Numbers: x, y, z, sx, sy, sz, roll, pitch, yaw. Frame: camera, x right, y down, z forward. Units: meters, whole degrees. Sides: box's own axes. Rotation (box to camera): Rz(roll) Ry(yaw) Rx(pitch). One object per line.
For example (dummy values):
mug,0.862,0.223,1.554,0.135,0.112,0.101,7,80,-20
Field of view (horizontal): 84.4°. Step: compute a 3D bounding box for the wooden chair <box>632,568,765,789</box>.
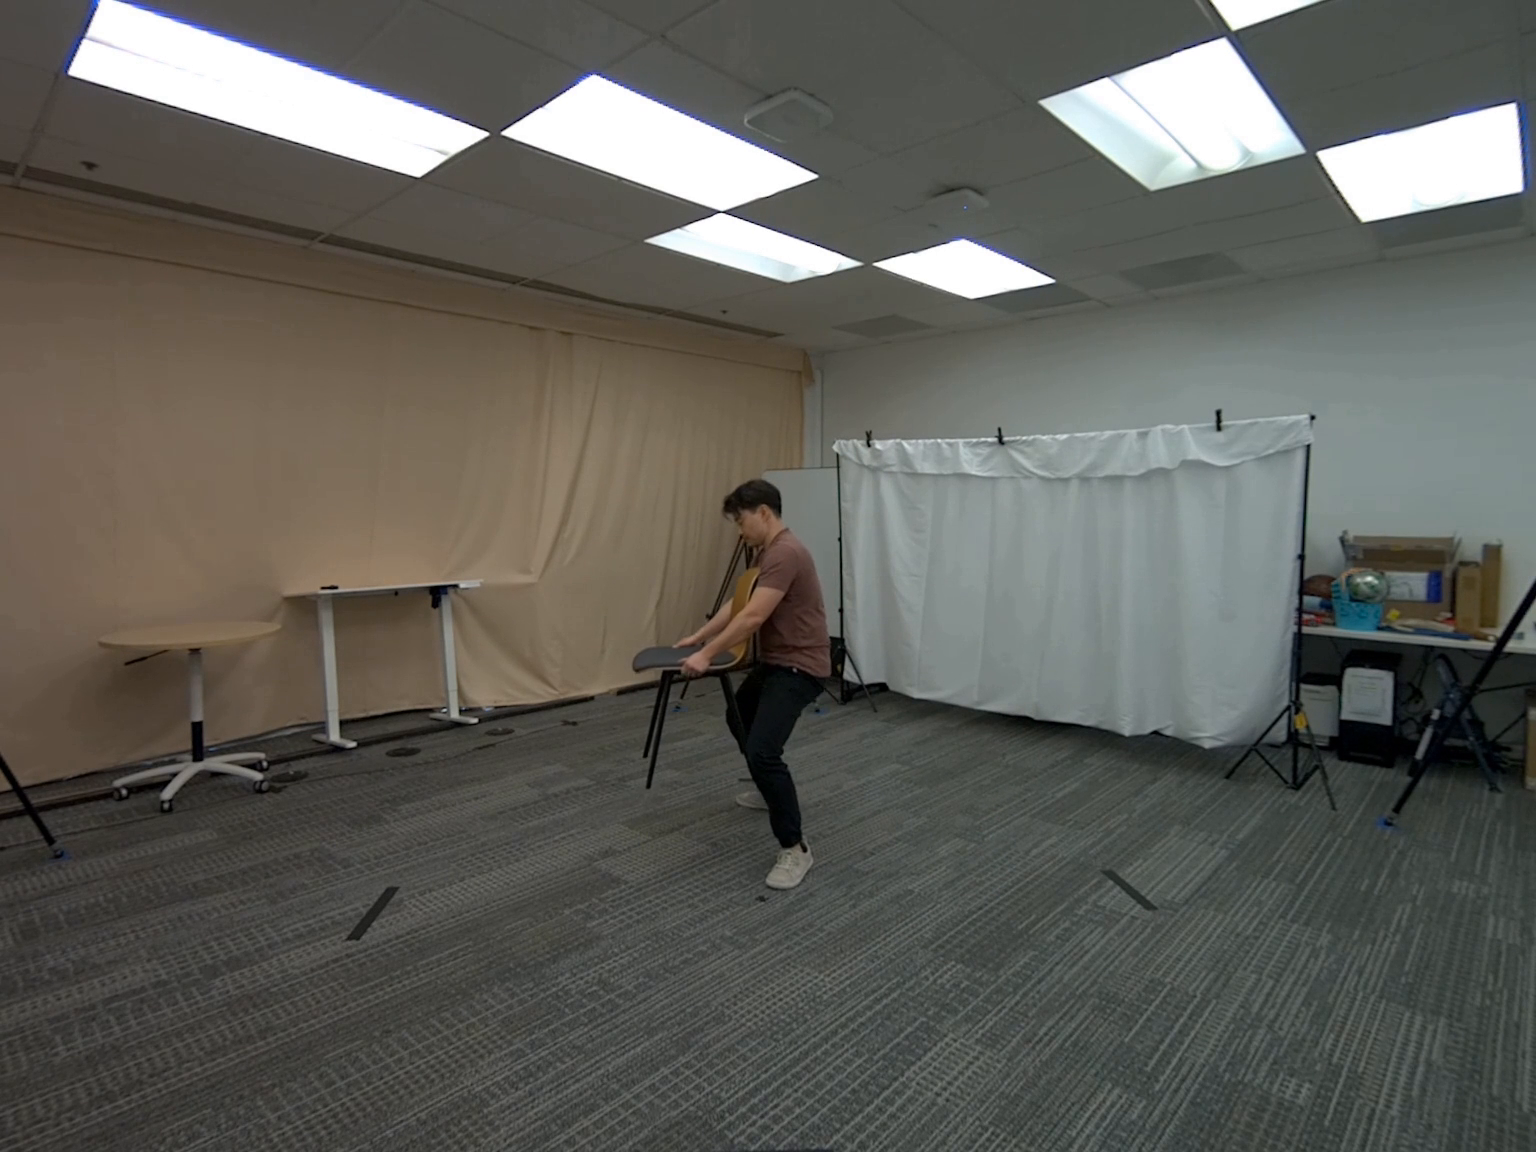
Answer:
wooden chair,-0.309,0.401,3.505,0.519,0.876,0.483,3,3,-8
